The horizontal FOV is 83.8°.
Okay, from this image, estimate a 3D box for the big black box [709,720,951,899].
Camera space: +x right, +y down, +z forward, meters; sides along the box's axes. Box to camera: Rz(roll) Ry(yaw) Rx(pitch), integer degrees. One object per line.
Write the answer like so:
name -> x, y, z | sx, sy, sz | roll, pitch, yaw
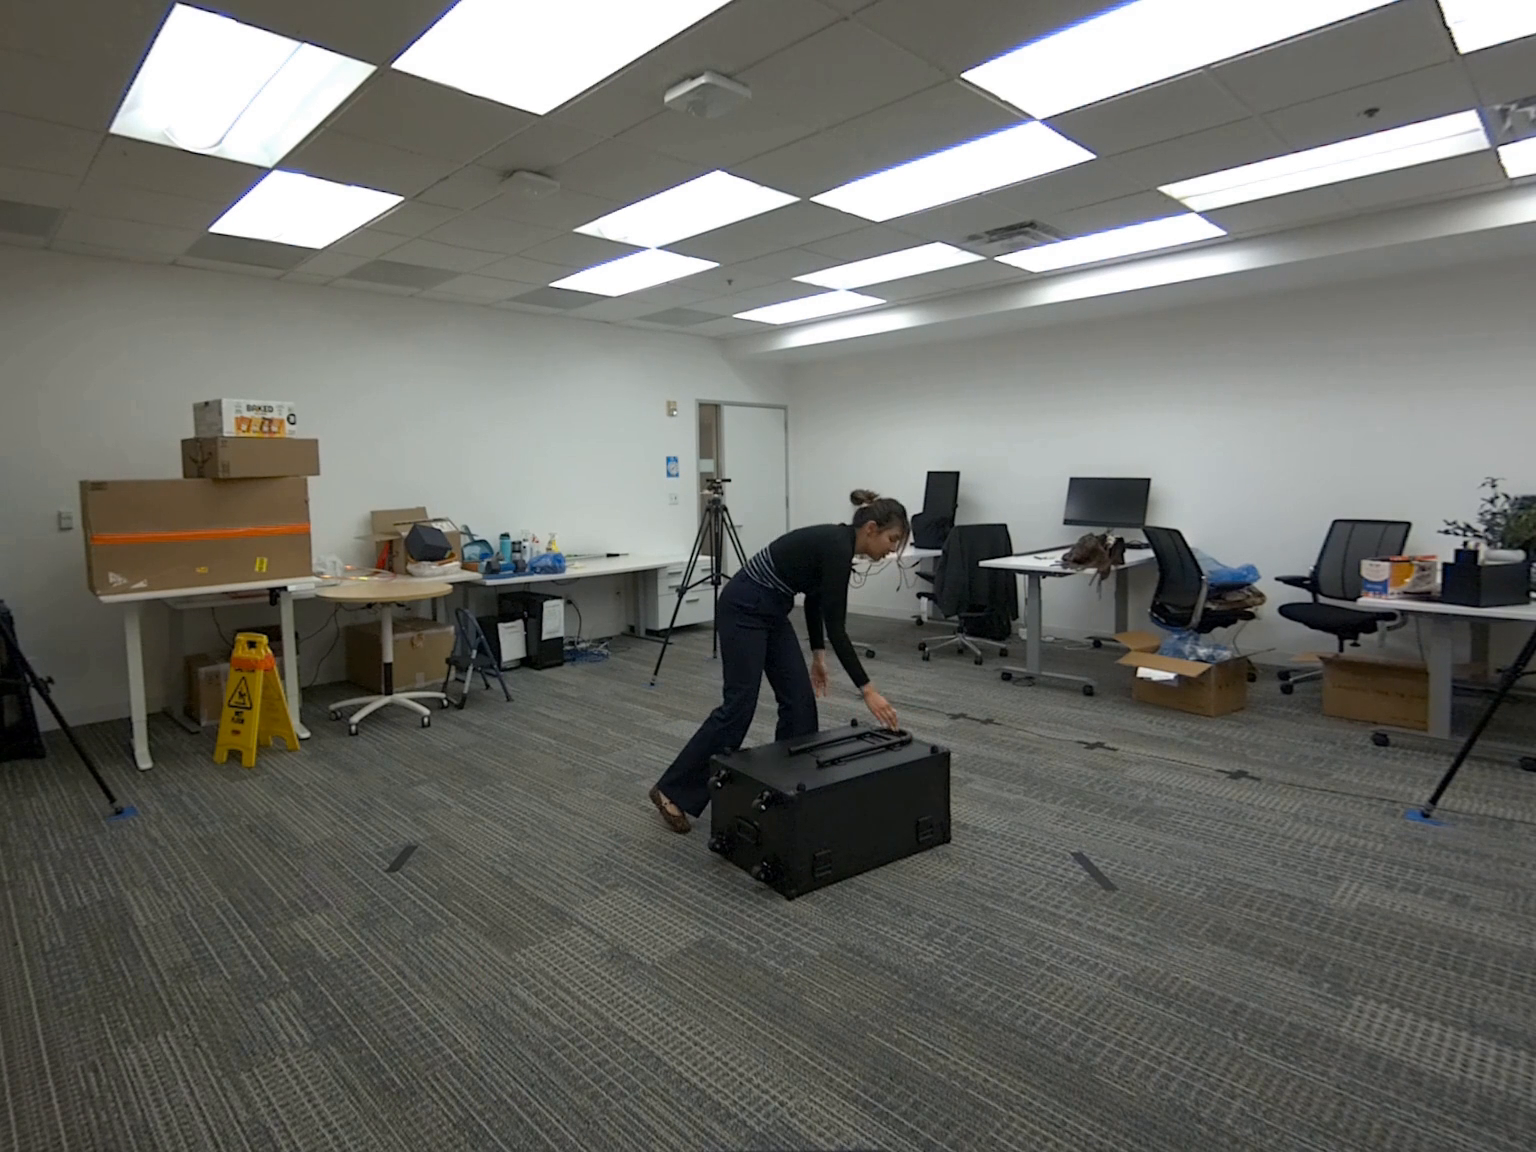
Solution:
big black box -> 0.262, 0.849, 3.238 | 0.840, 0.395, 0.536 | -5, 6, -35
